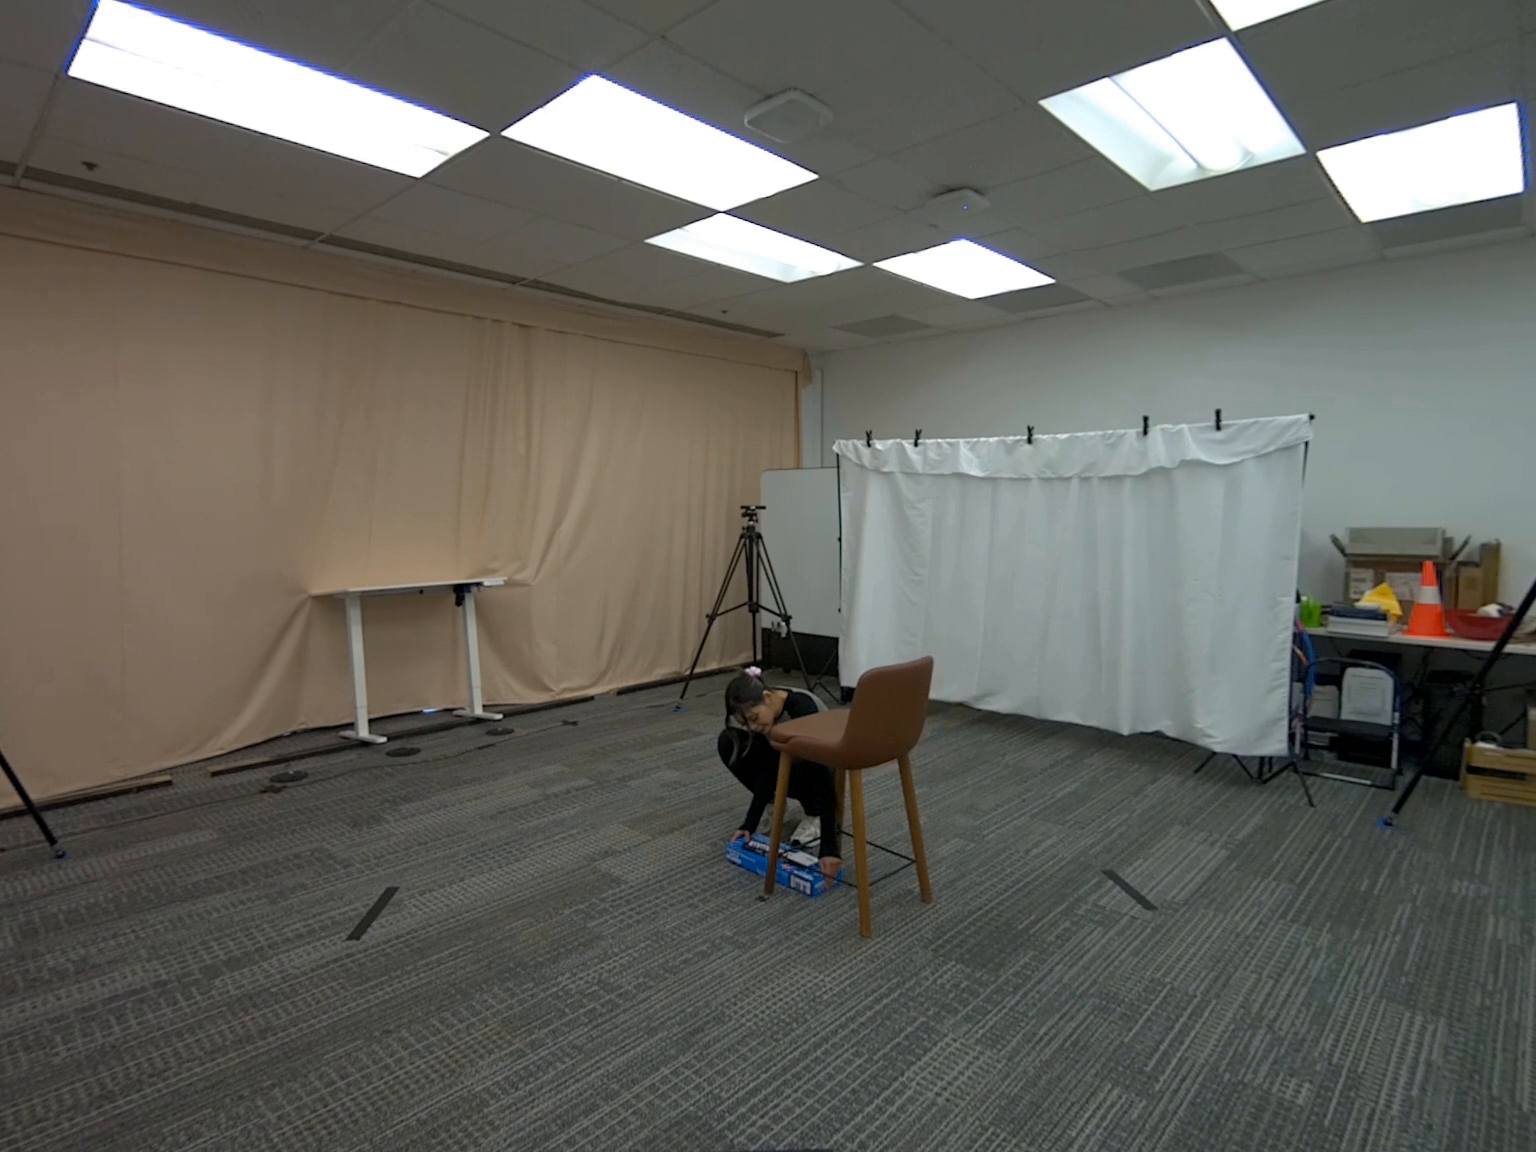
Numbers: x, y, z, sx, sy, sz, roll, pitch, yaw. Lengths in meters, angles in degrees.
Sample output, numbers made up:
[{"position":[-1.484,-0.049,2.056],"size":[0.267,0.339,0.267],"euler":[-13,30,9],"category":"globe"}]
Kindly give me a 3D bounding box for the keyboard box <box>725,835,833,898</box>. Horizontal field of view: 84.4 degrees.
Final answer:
[{"position":[0.056,1.091,3.204],"size":[0.452,0.059,0.171],"euler":[7,9,44],"category":"keyboard box"}]
